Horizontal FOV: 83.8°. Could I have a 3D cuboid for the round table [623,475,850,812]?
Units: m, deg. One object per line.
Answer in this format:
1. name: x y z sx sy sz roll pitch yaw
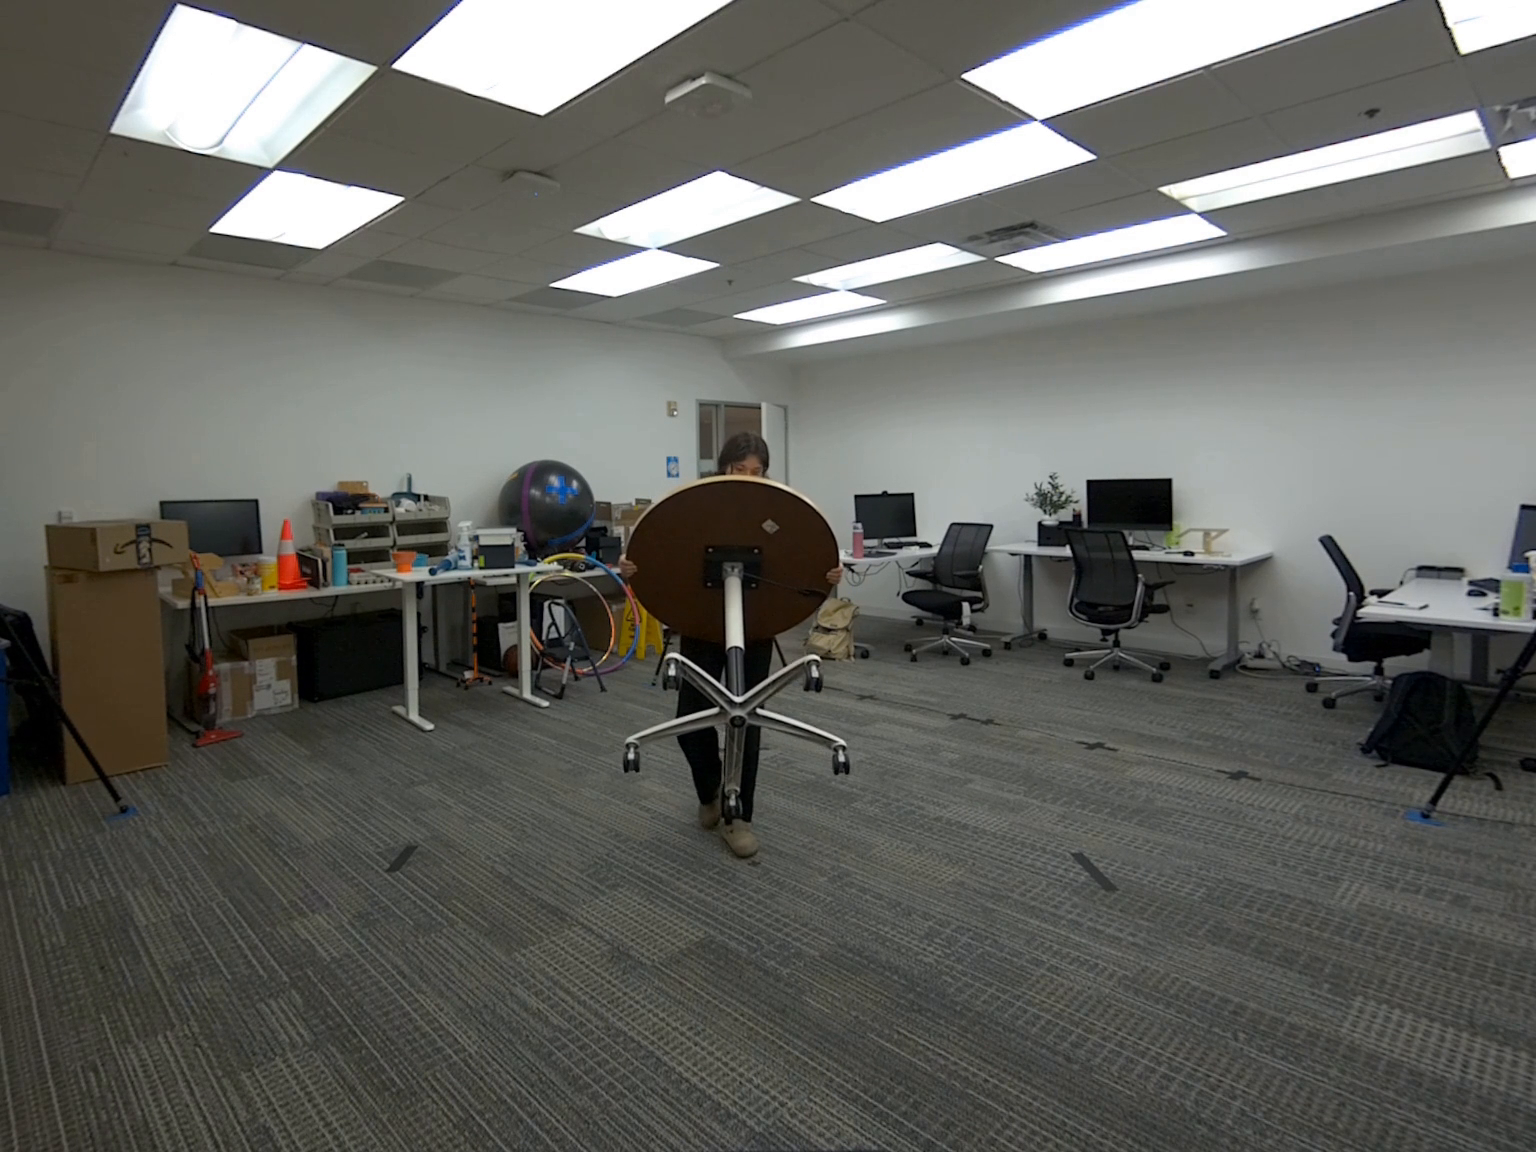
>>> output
1. round table: -0.110 0.229 2.758 0.763 0.743 0.816 -1 40 -2
